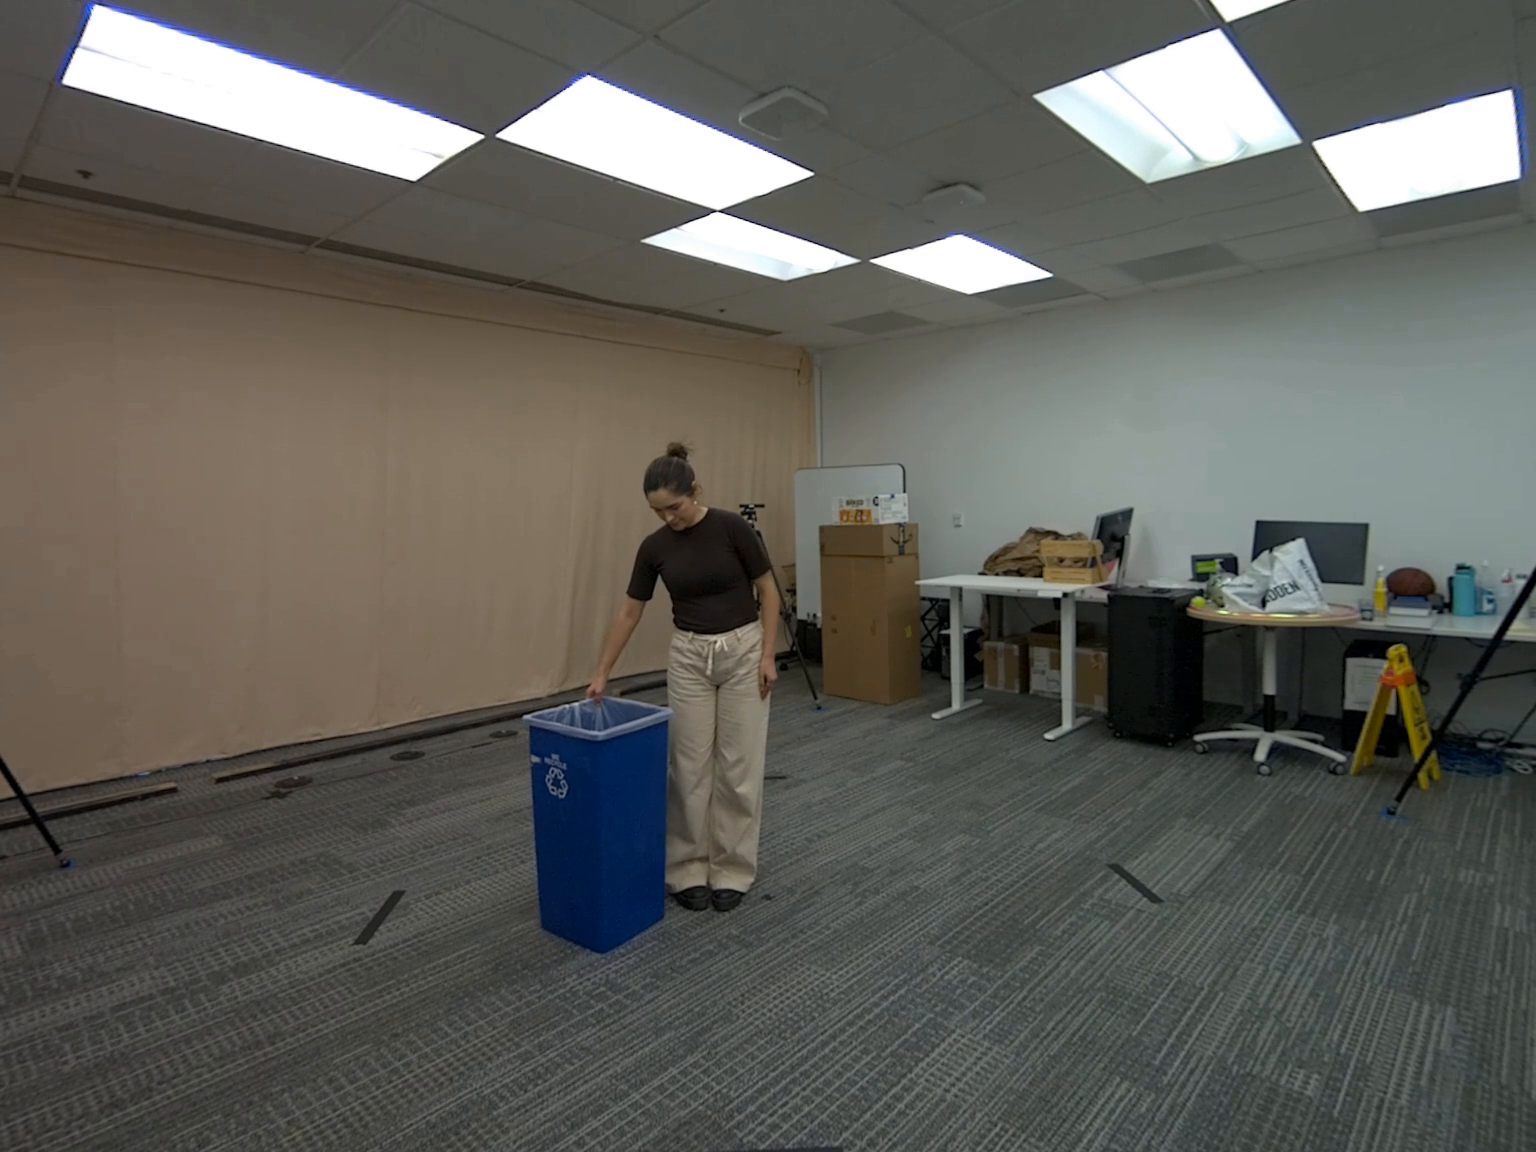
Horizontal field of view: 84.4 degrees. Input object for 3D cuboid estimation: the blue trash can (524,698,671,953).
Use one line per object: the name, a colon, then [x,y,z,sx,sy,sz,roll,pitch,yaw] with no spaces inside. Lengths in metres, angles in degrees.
blue trash can: [-0.561,0.810,2.797,0.390,0.712,0.363,2,3,35]
